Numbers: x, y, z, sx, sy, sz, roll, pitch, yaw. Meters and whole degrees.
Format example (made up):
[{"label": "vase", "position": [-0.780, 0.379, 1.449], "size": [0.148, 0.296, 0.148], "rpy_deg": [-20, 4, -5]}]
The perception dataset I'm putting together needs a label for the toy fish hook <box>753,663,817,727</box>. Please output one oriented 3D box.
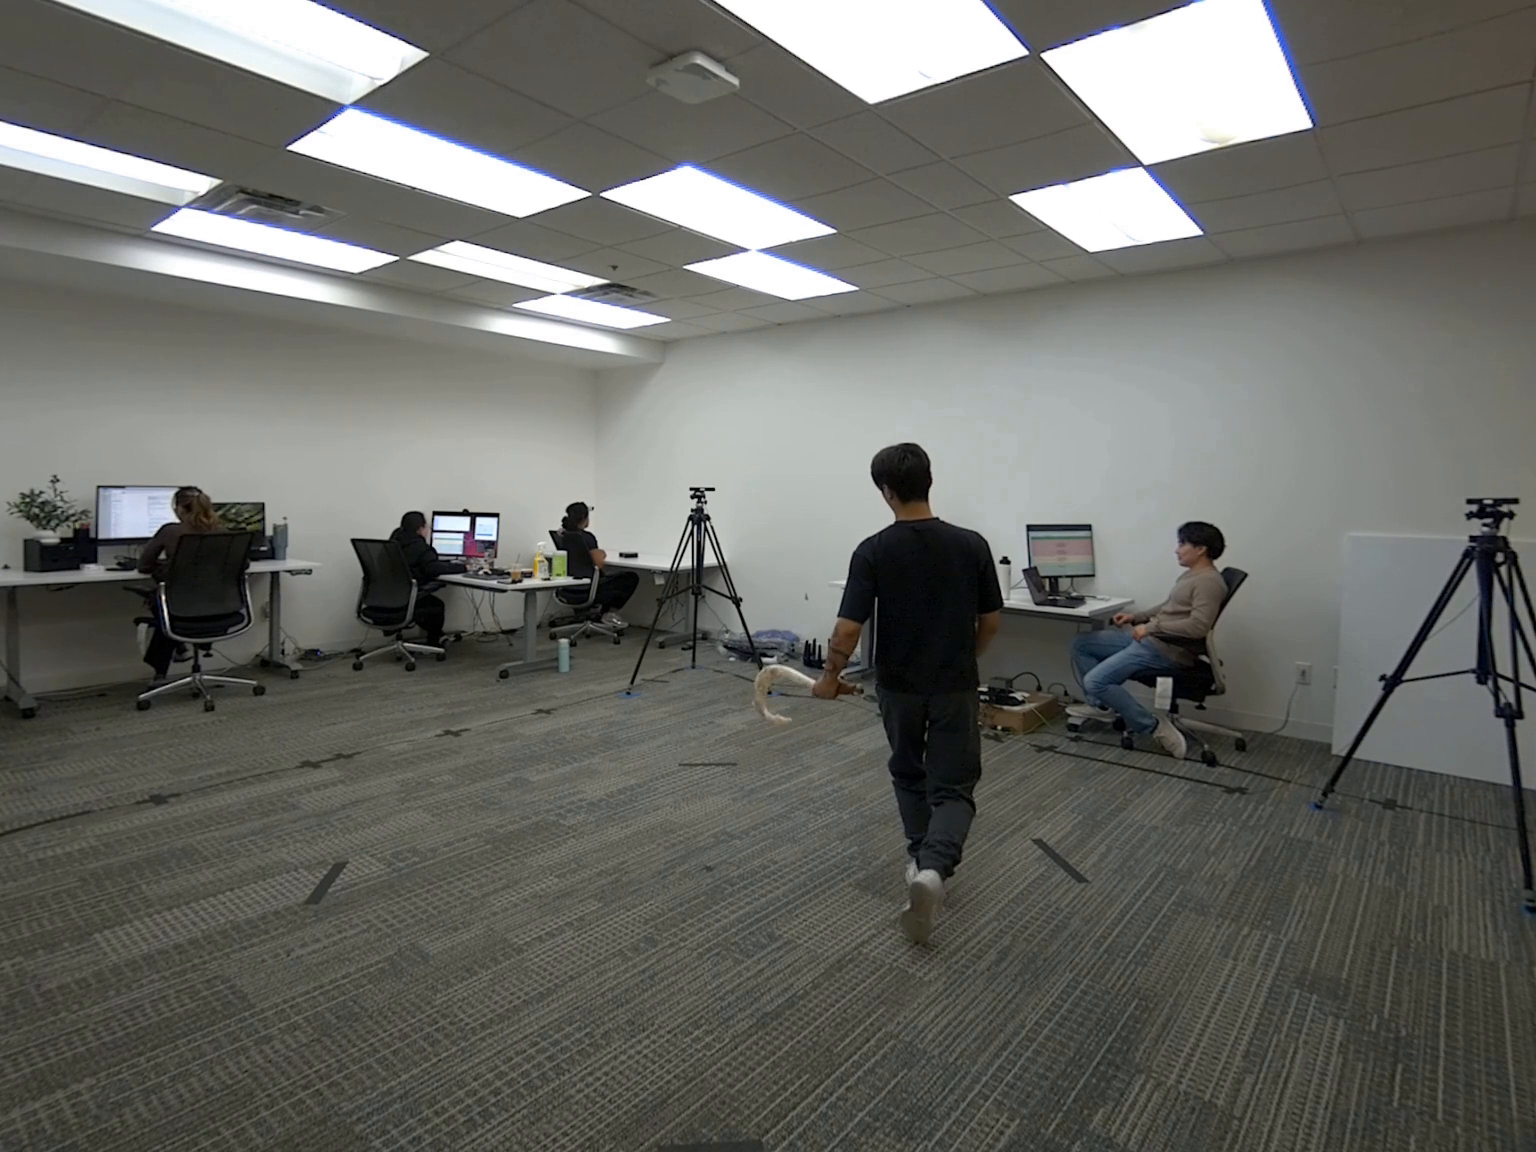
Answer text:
[{"label": "toy fish hook", "position": [0.137, 0.436, 3.137], "size": [0.522, 0.225, 0.046], "rpy_deg": [0, -5, 44]}]
